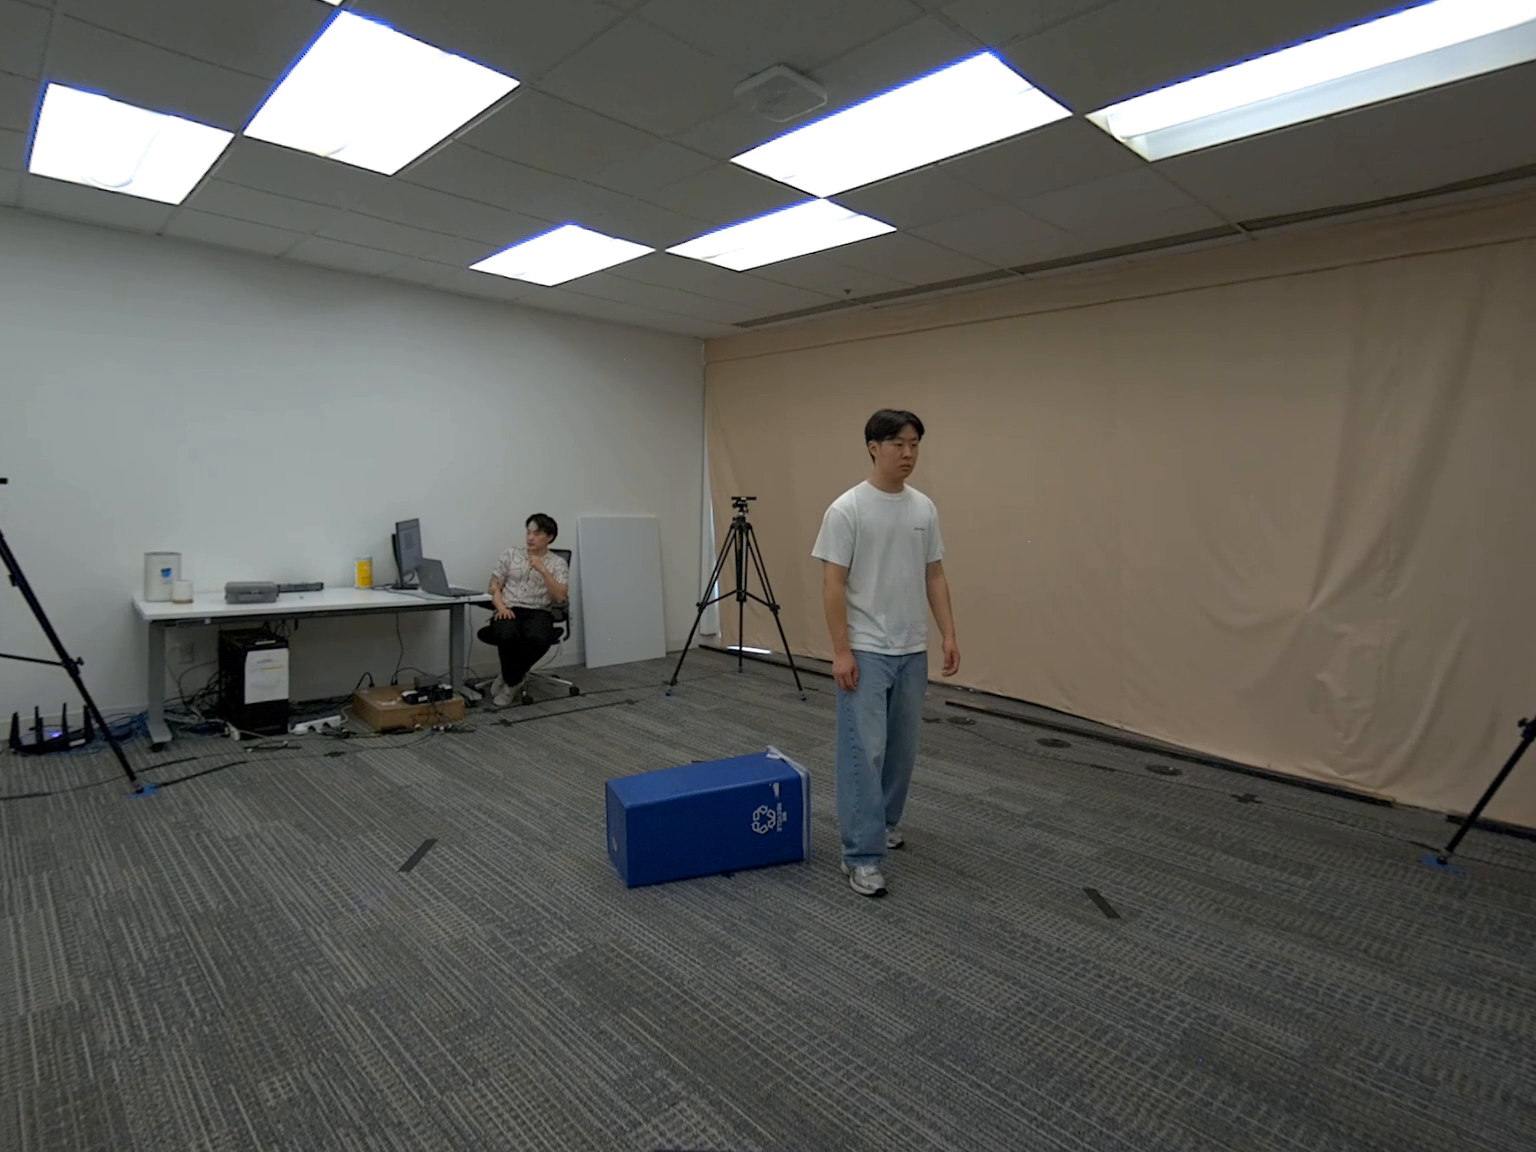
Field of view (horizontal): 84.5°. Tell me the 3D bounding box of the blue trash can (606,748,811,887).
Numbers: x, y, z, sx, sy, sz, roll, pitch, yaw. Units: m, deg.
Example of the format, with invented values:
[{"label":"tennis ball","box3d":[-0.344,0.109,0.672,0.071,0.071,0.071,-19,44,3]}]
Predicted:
[{"label":"blue trash can","box3d":[-0.238,0.925,3.229,0.702,0.377,0.381,-3,6,-23]}]
